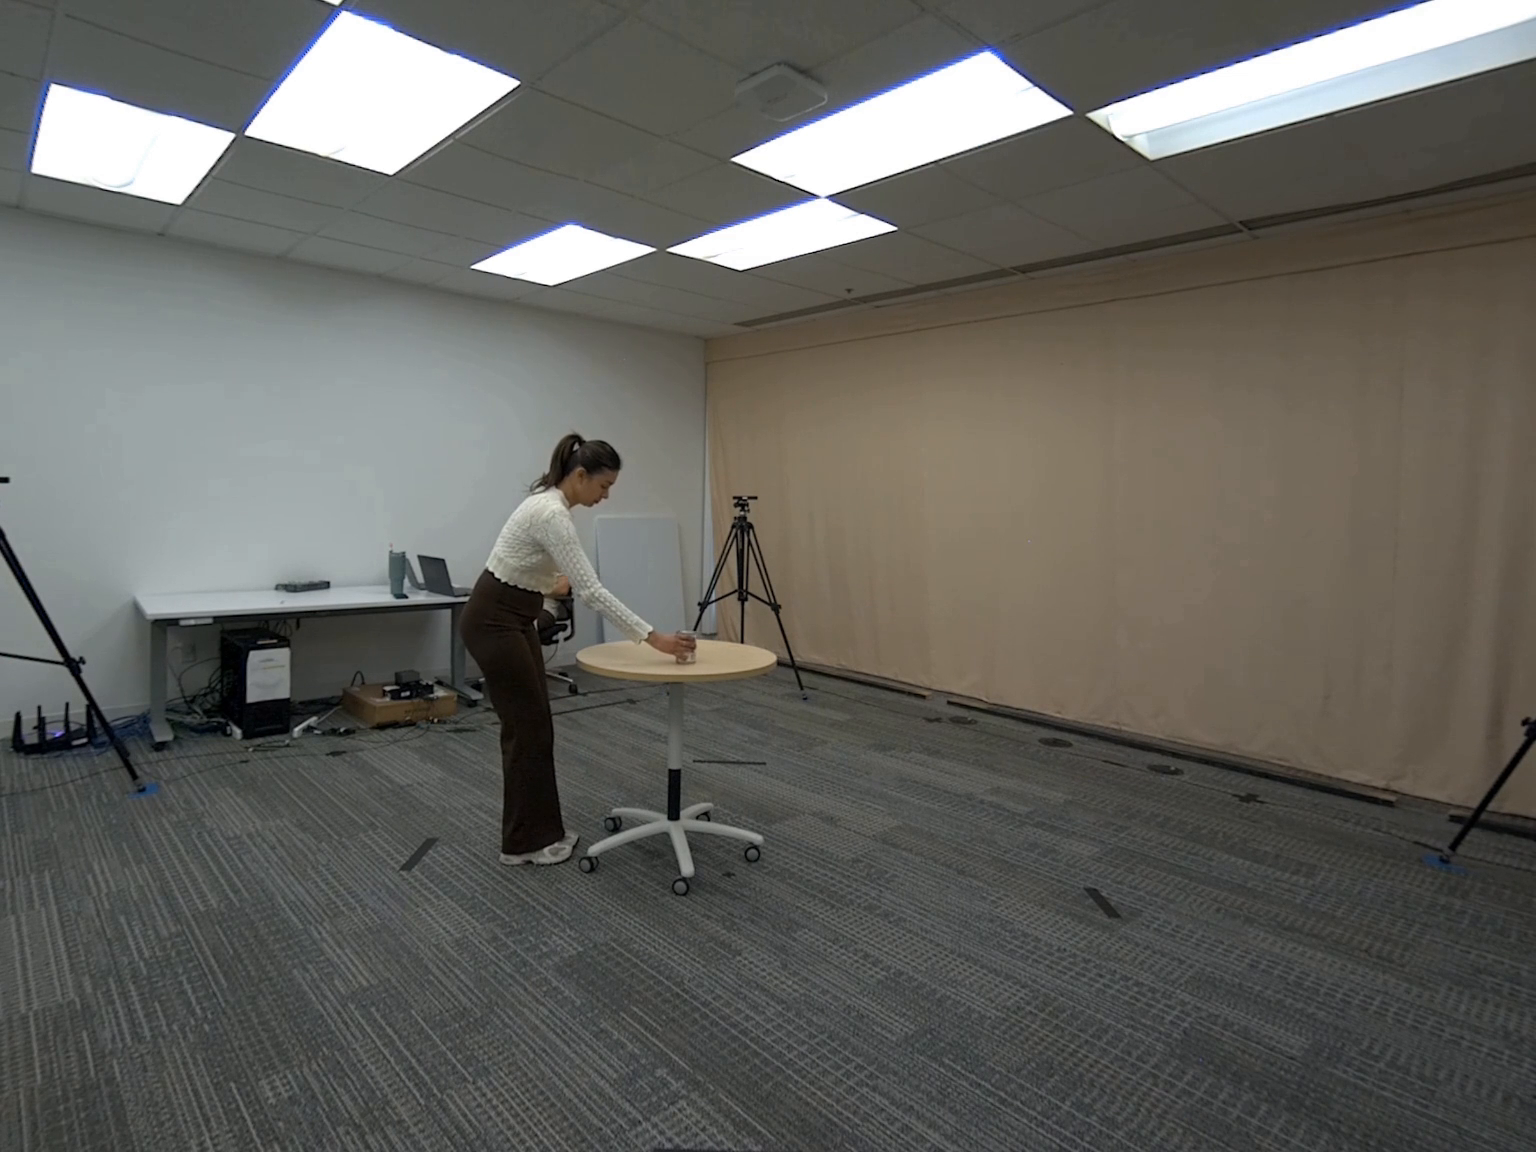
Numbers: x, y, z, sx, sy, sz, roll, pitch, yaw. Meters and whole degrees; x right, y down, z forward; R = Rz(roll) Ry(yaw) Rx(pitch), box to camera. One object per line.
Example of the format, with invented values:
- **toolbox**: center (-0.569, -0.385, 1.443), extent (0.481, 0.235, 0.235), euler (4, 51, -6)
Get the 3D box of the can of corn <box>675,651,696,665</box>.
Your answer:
- **can of corn**: center (-0.310, 0.265, 3.073), extent (0.074, 0.111, 0.074), euler (-2, 4, -1)
